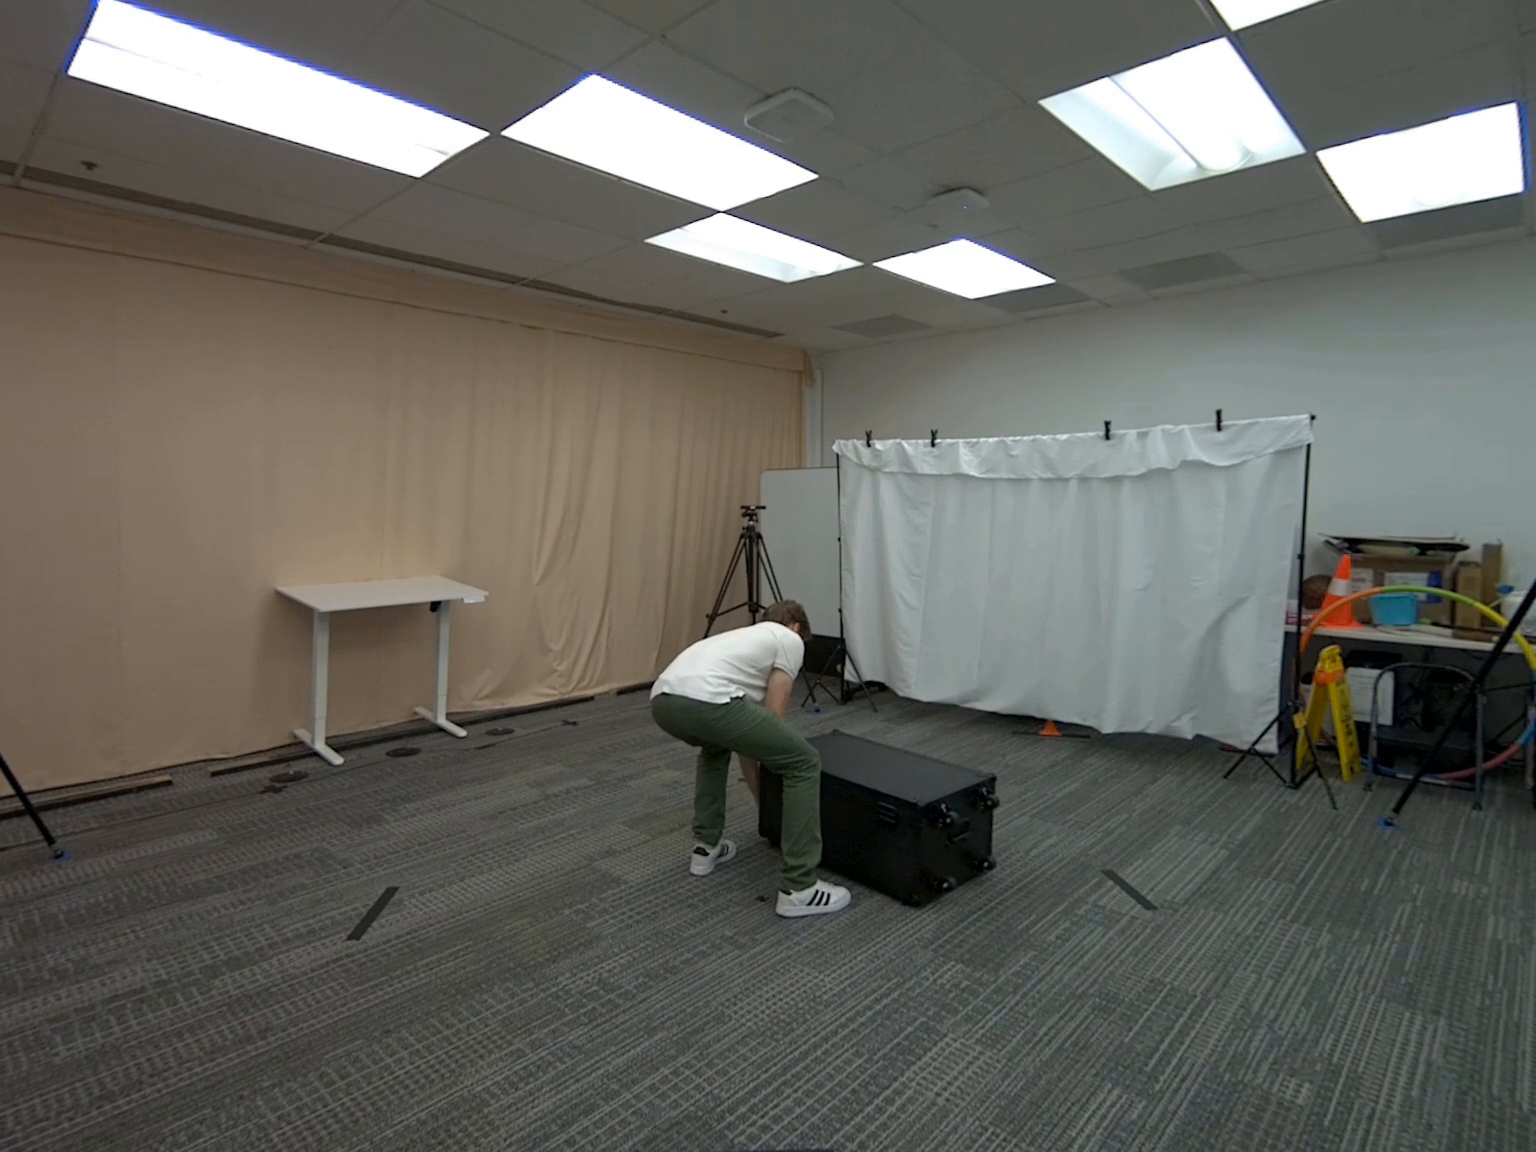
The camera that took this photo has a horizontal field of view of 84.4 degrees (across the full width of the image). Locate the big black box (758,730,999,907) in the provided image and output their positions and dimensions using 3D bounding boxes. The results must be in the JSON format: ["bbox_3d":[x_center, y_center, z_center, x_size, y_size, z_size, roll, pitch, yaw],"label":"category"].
[{"bbox_3d":[0.438,0.916,3.285,0.507,0.384,0.898,-3,6,-43],"label":"big black box"}]
